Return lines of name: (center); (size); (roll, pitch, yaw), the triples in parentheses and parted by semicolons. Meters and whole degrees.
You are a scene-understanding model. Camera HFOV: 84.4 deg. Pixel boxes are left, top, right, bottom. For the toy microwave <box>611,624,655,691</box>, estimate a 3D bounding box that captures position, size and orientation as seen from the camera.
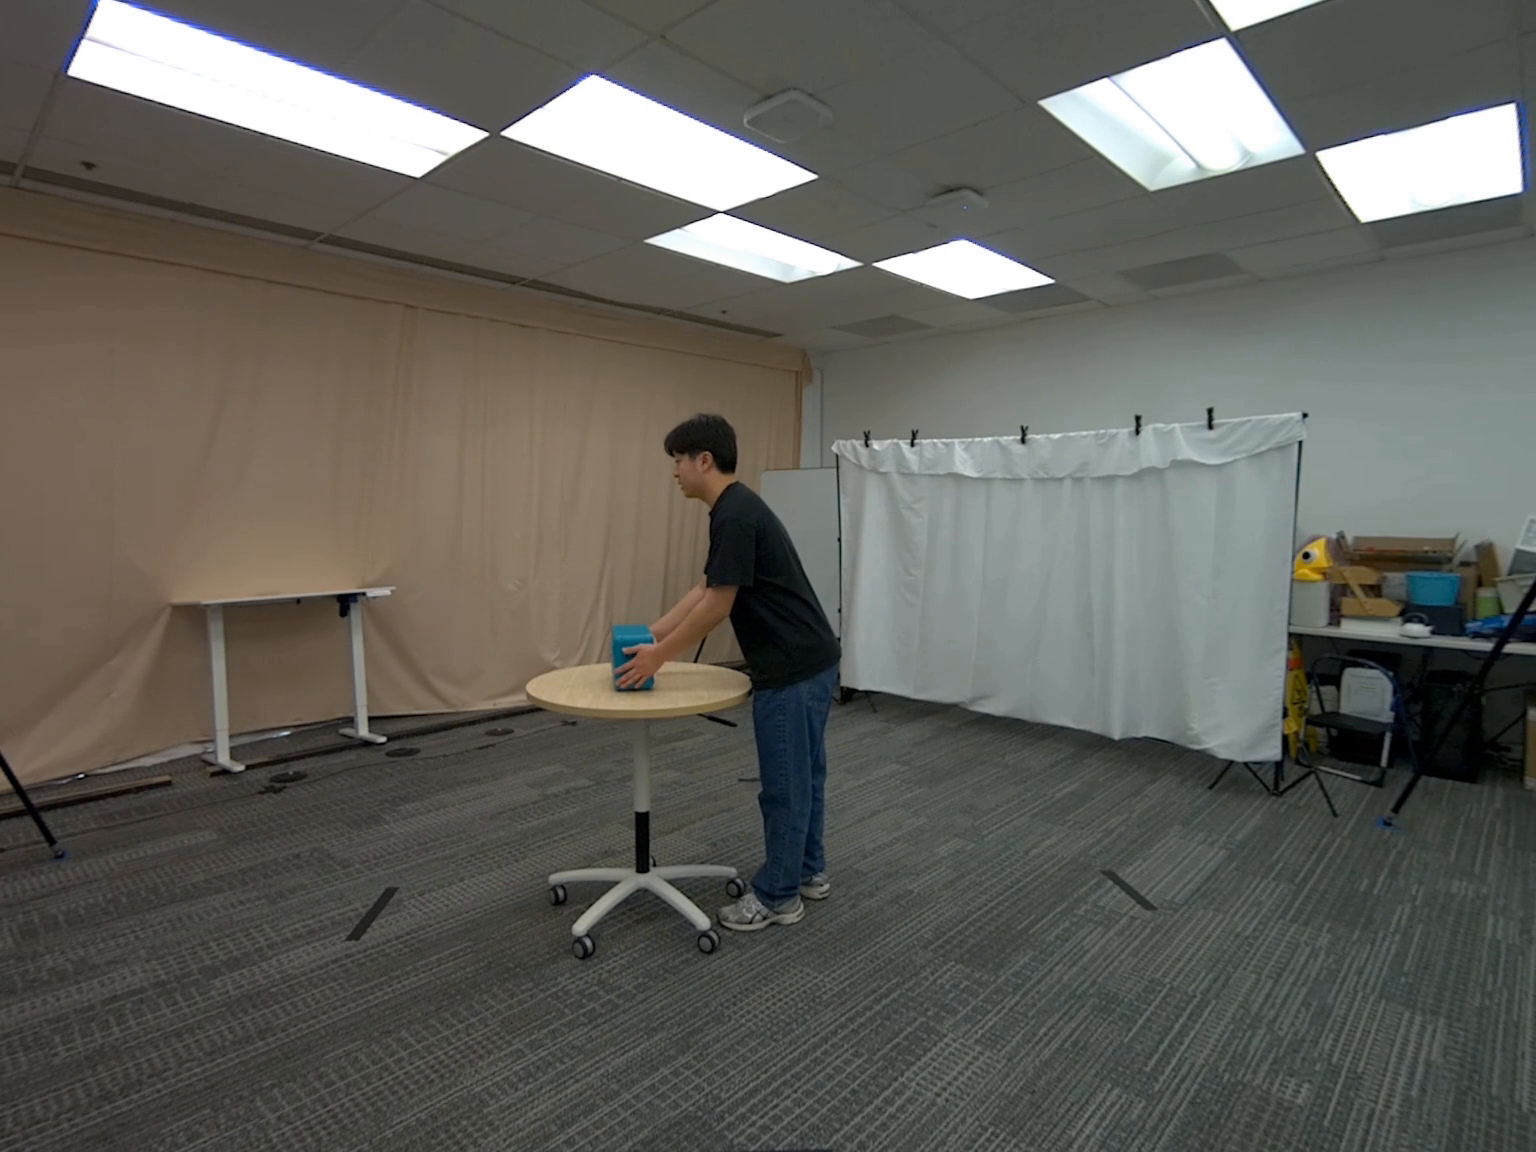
toy microwave: (-0.450, 0.275, 2.851); (0.151, 0.184, 0.290); (0, 4, -10)
